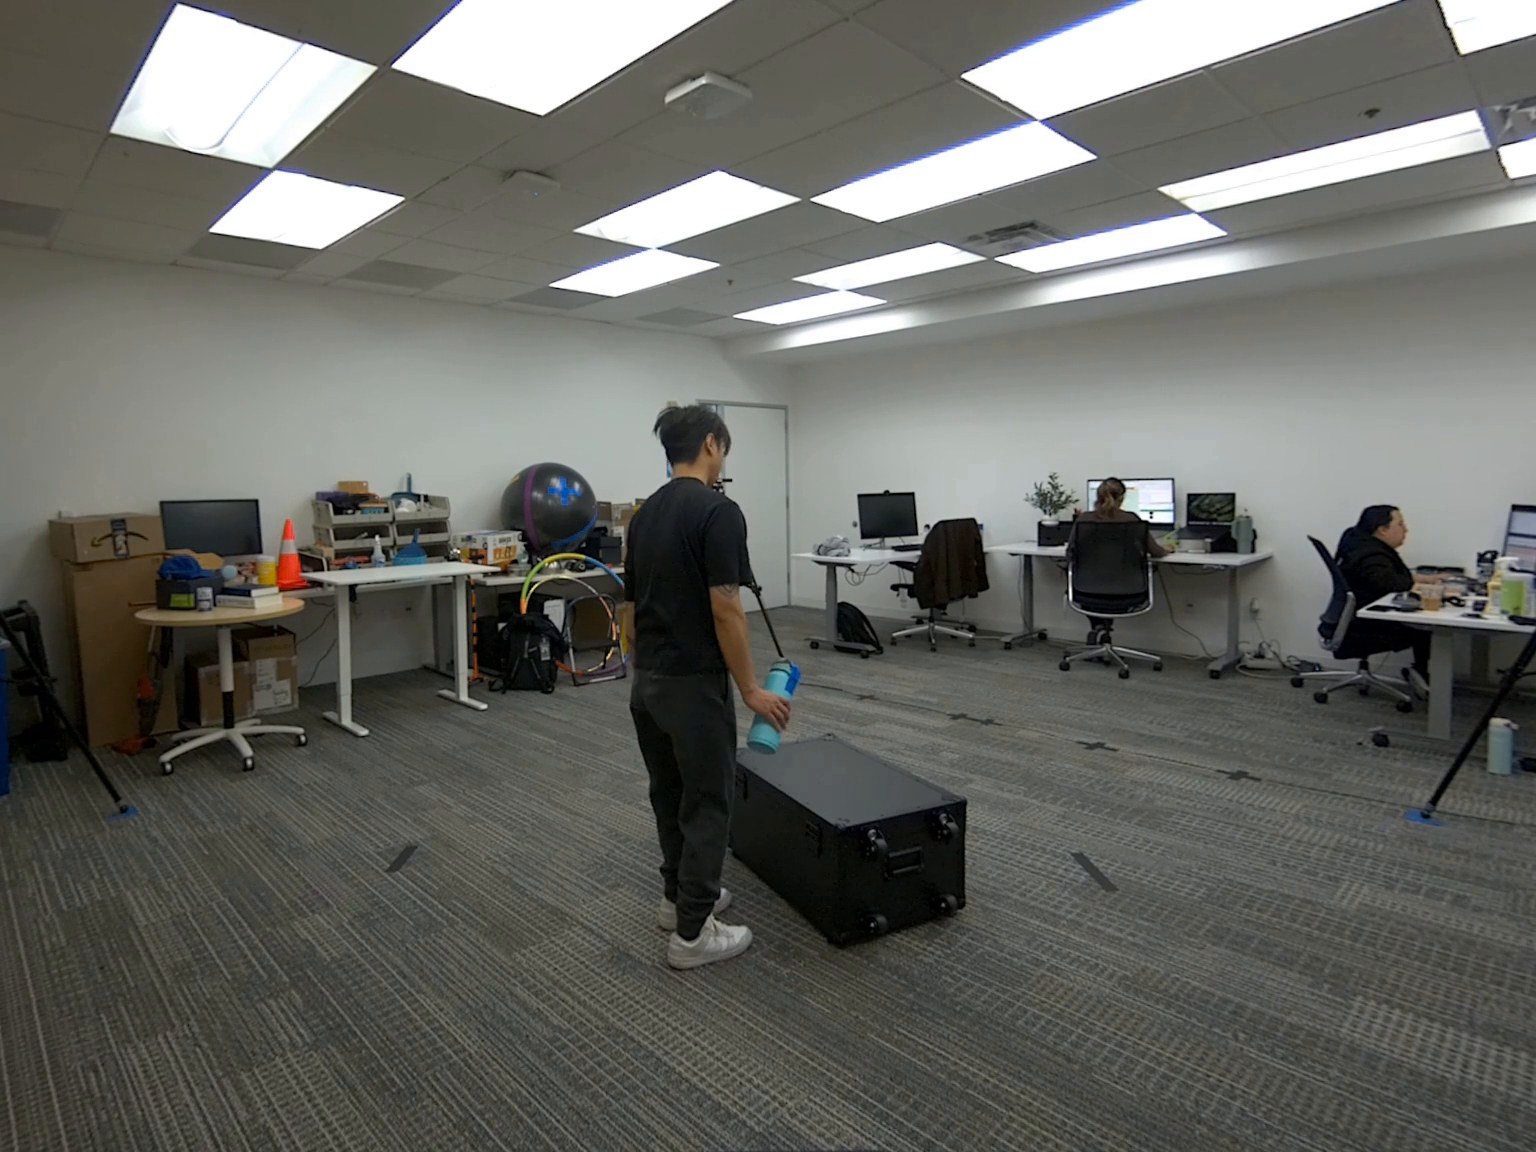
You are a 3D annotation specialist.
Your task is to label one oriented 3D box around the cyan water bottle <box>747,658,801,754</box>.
[{"bbox_3d":[0.021,0.375,2.493,0.093,0.287,0.090,16,-29,7],"label":"cyan water bottle"}]
